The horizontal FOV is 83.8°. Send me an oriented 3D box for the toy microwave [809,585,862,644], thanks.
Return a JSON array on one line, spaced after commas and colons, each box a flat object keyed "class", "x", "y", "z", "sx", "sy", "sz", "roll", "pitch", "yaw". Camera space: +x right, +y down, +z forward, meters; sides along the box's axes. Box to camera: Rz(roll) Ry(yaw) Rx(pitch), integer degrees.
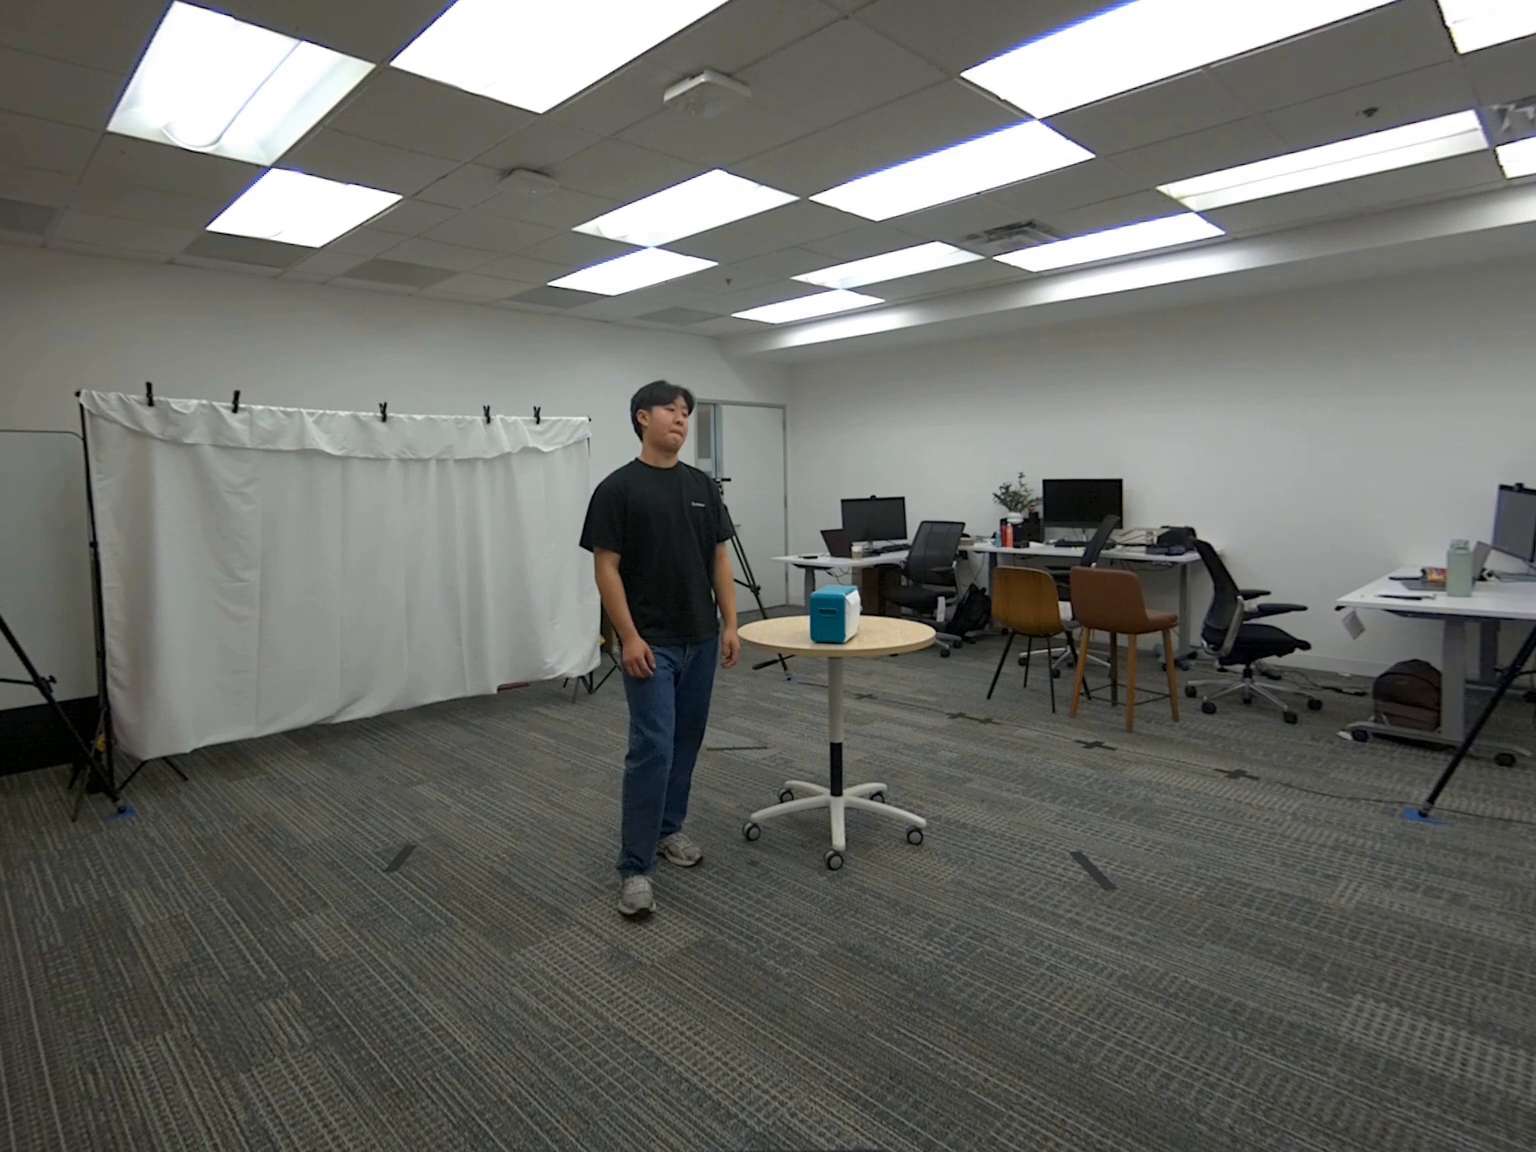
[{"class": "toy microwave", "x": 0.257, "y": 0.138, "z": 3.171, "sx": 0.155, "sy": 0.183, "sz": 0.282, "roll": 1, "pitch": 6, "yaw": 17}]
